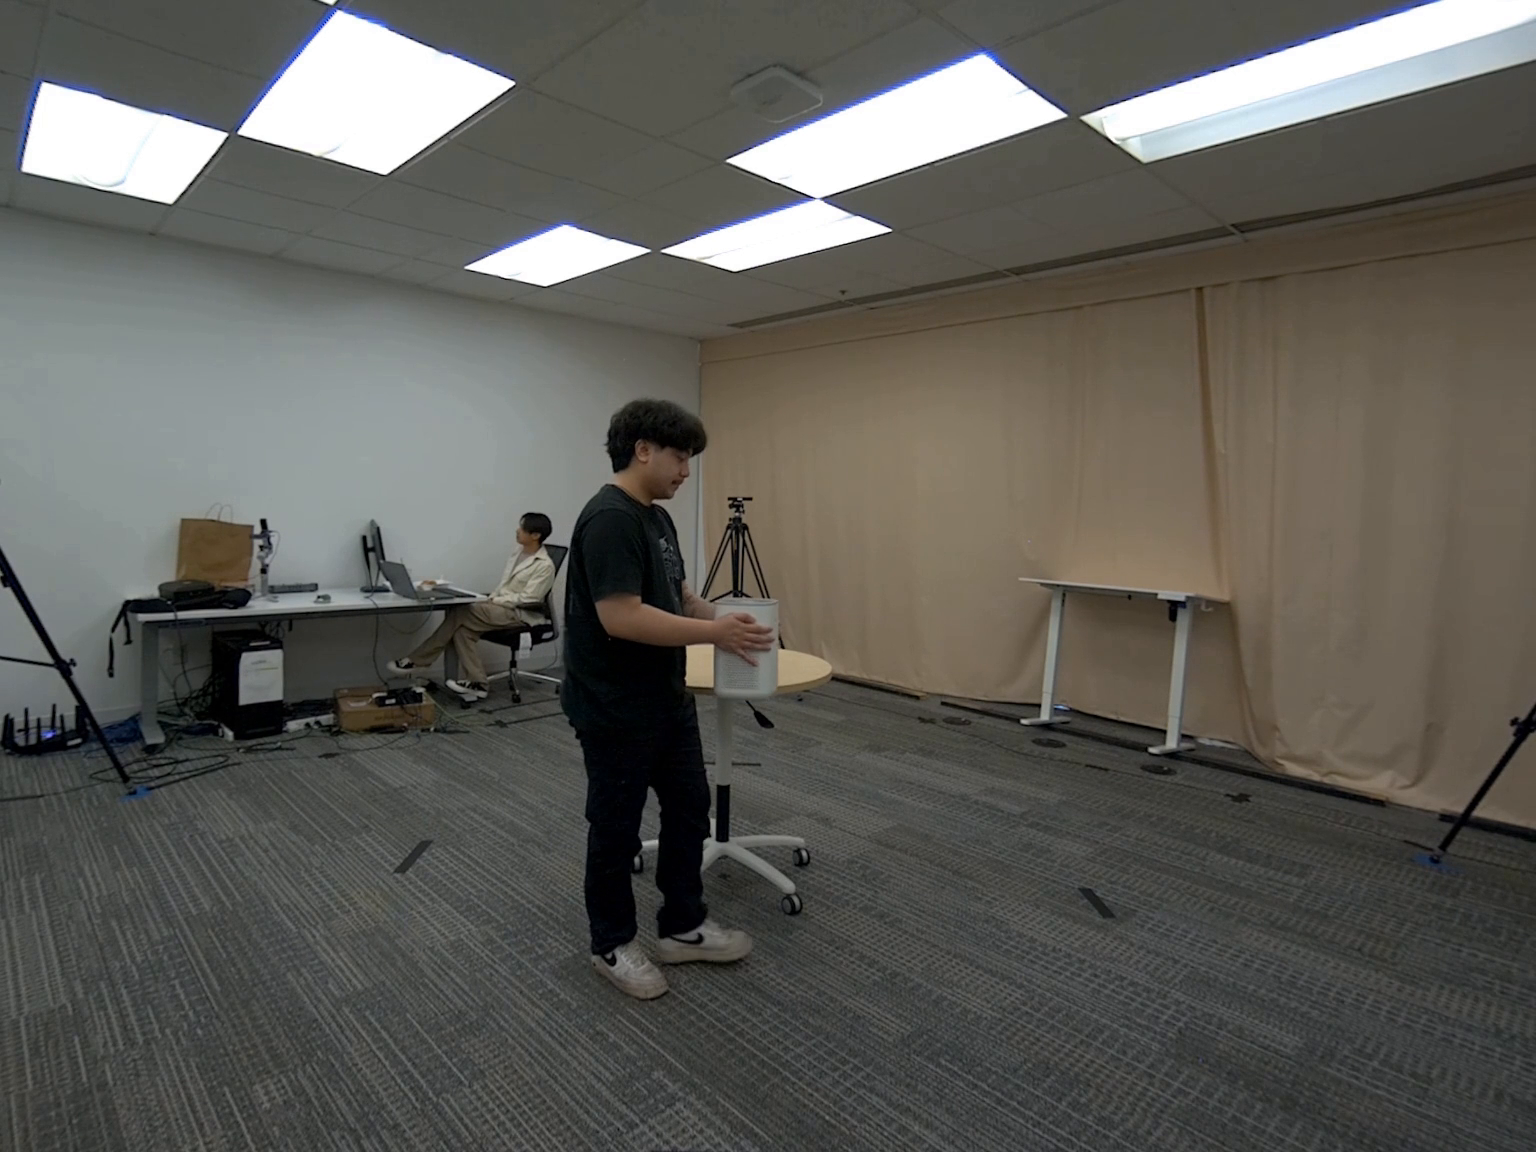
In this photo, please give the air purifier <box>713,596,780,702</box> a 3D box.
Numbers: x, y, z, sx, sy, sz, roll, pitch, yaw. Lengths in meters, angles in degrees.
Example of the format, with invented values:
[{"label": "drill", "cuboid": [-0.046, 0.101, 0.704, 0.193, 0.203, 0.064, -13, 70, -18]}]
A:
[{"label": "air purifier", "cuboid": [-0.082, 0.208, 2.322, 0.173, 0.266, 0.169, 0, -2, 8]}]
